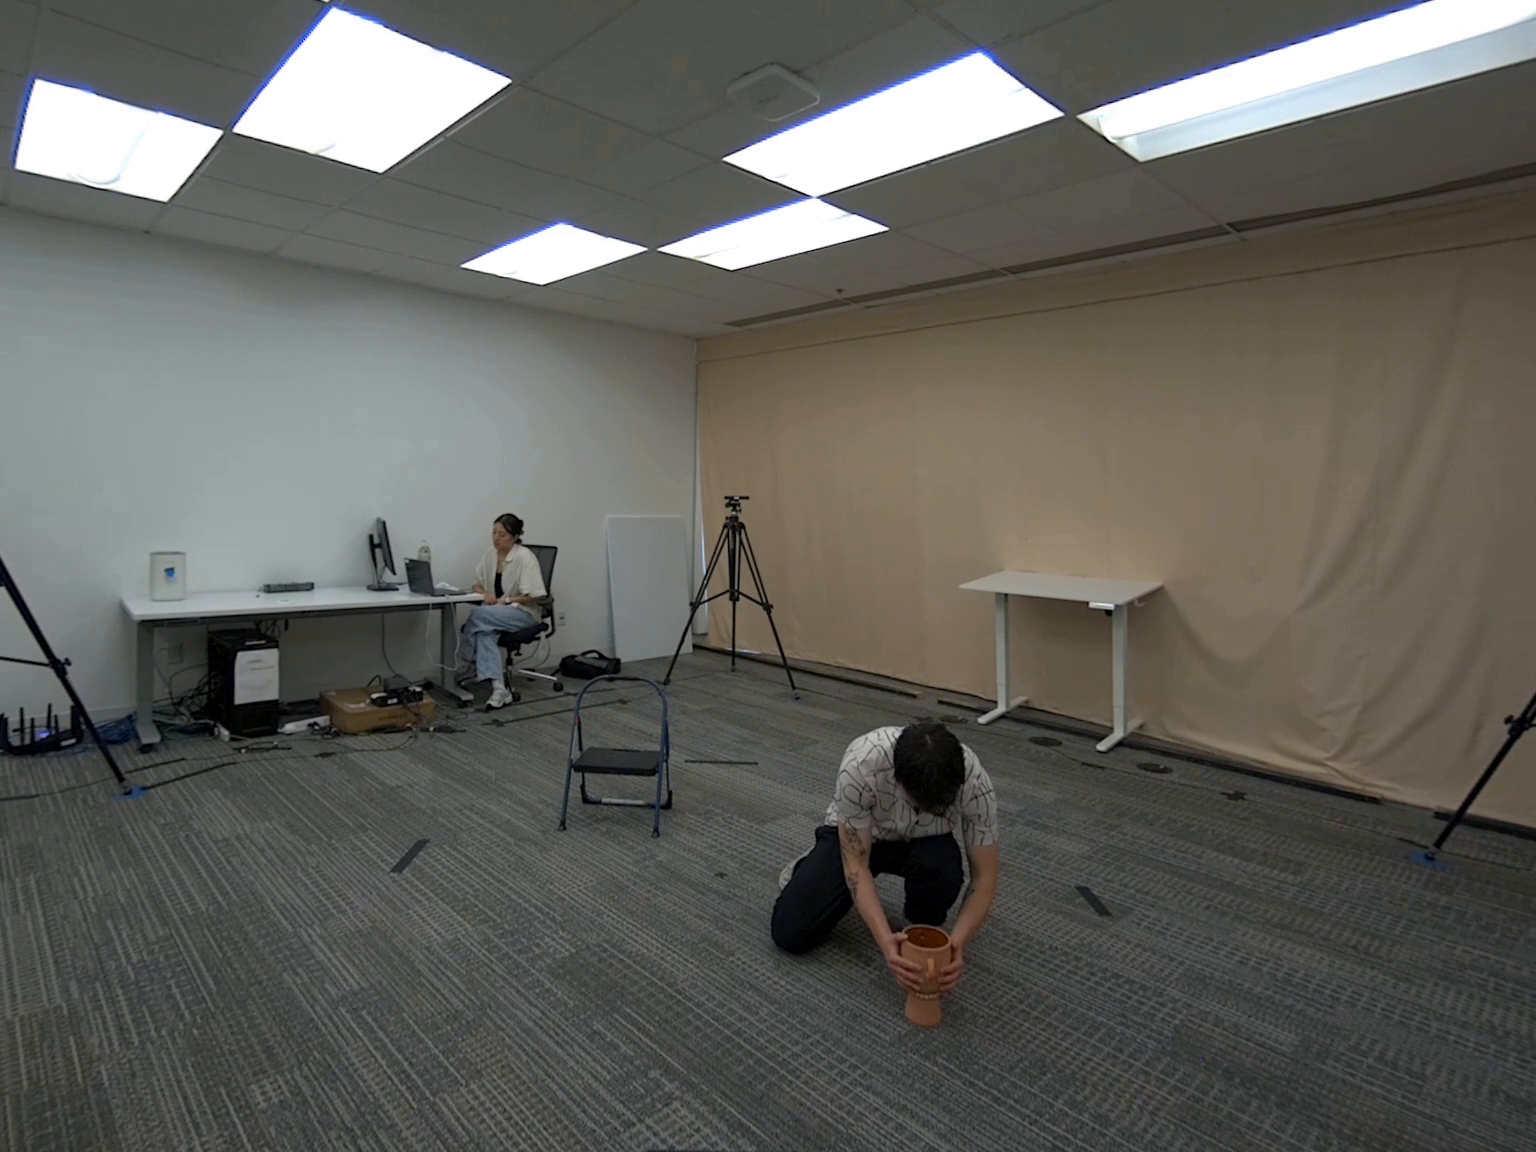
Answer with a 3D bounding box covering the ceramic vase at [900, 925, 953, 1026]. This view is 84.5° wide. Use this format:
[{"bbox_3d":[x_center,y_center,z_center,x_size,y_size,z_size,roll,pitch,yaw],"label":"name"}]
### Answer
[{"bbox_3d":[0.414,1.084,2.276,0.138,0.219,0.155,5,5,40],"label":"ceramic vase"}]
